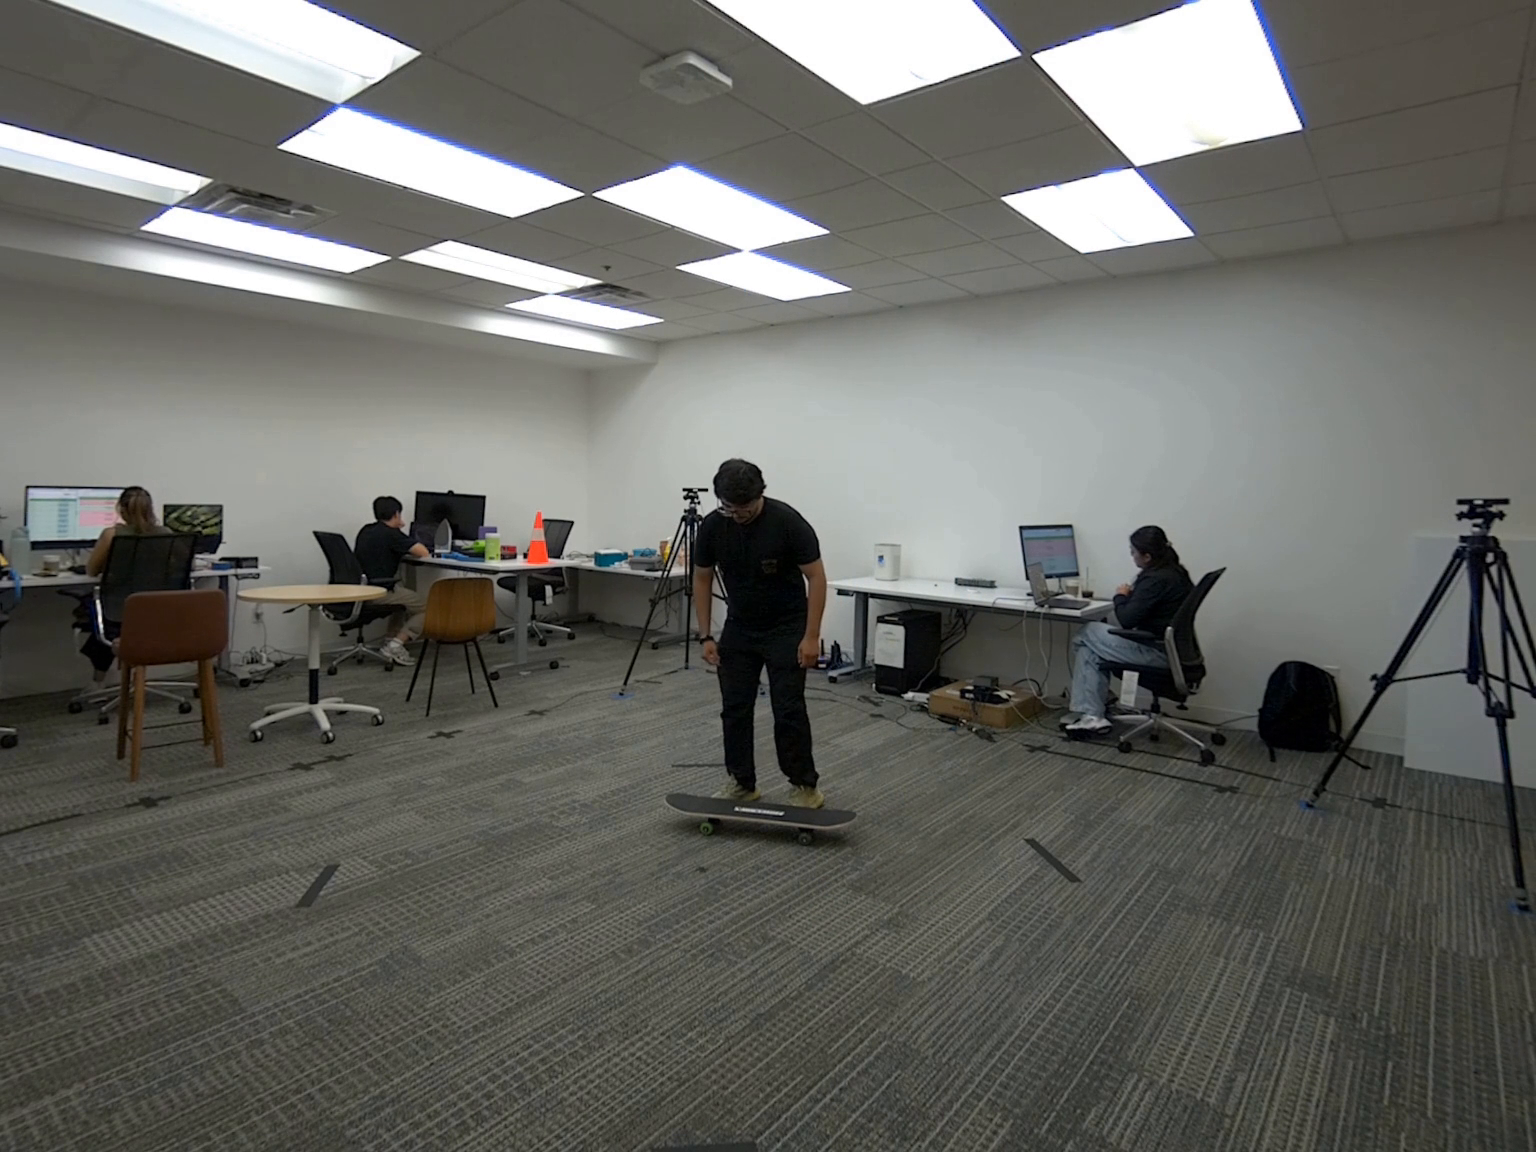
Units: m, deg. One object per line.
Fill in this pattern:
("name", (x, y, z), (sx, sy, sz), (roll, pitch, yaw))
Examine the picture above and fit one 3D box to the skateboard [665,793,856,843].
("skateboard", (-0.048, 0.979, 3.457), (0.795, 0.110, 0.192), (3, 5, 11))
